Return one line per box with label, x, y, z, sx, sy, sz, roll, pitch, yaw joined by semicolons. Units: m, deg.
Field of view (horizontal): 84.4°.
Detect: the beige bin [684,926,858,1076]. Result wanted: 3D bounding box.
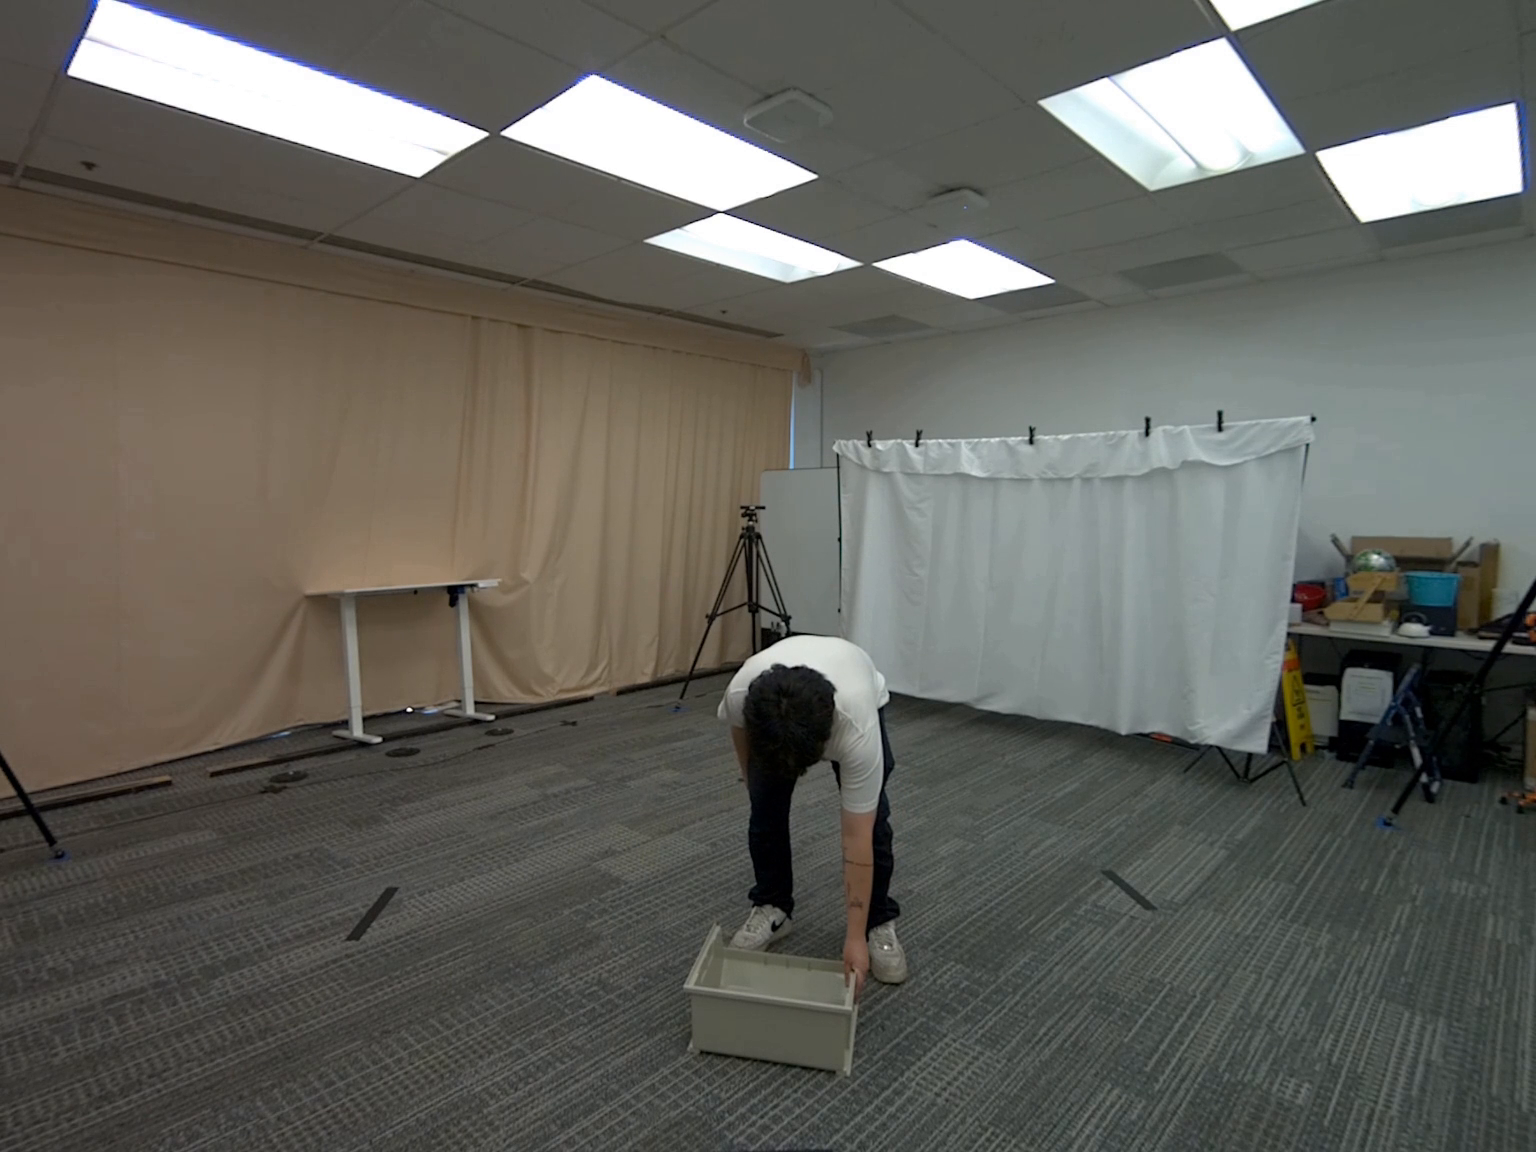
beige bin;0.028;1.116;2.263;0.428;0.188;0.373;1;5;12
